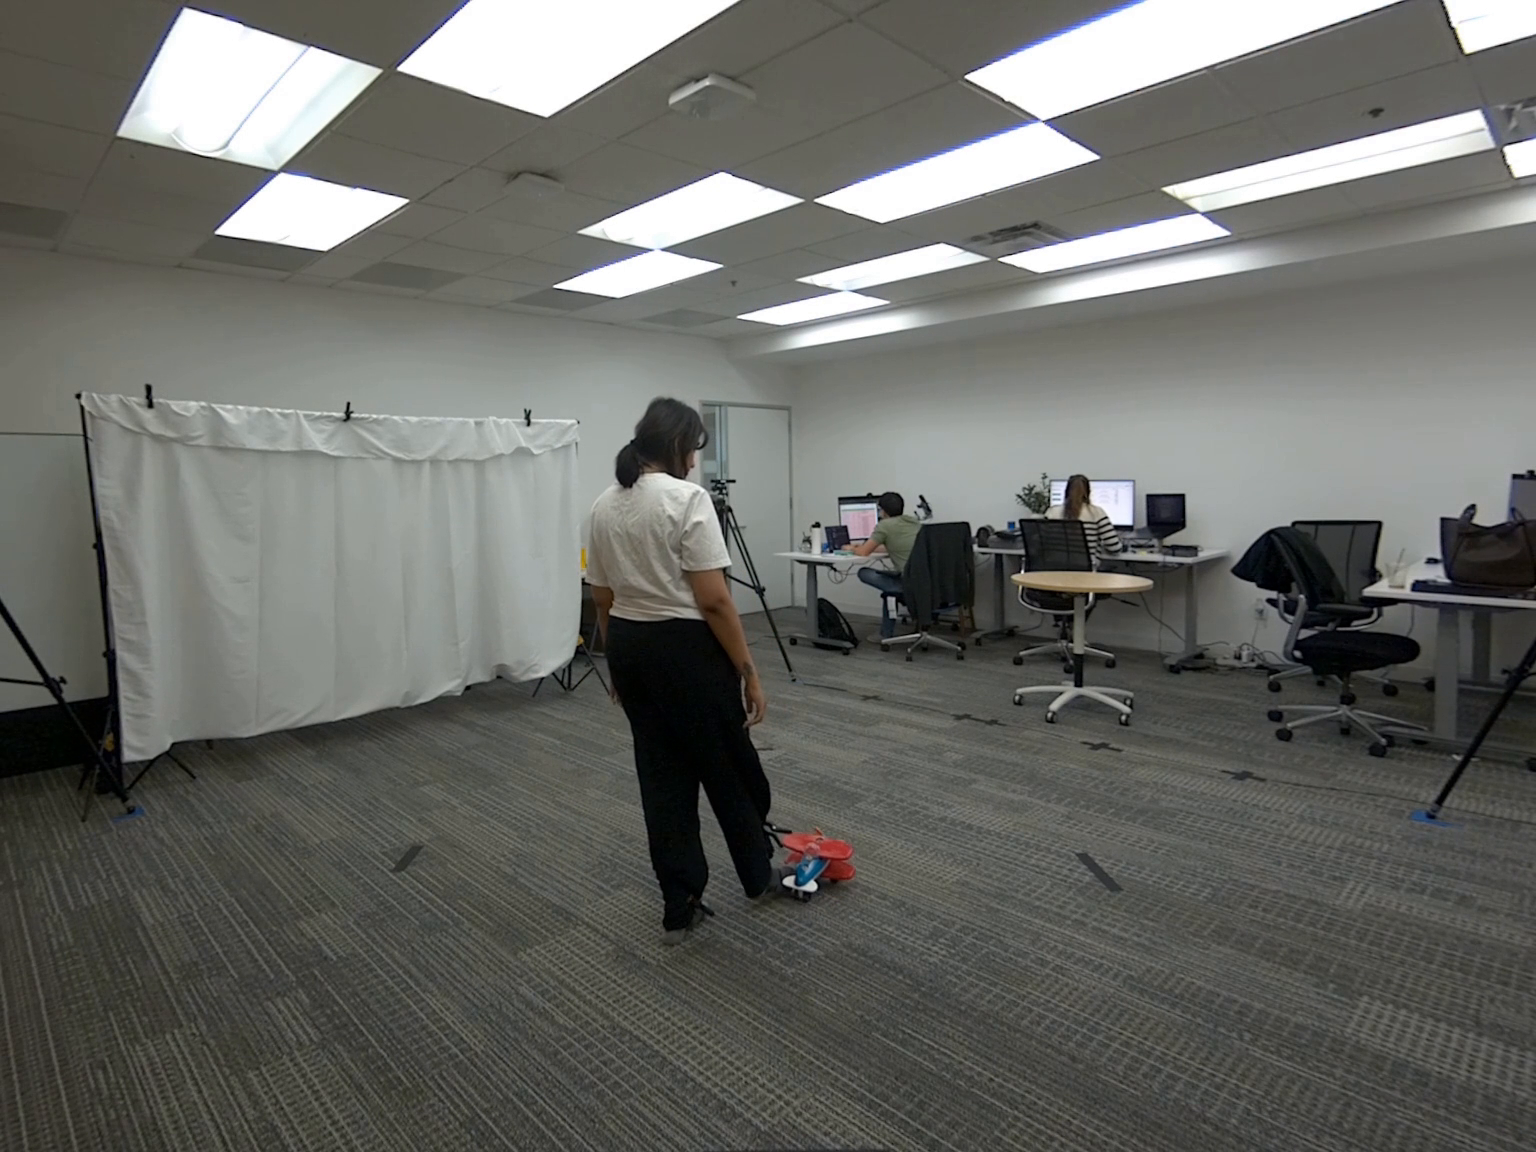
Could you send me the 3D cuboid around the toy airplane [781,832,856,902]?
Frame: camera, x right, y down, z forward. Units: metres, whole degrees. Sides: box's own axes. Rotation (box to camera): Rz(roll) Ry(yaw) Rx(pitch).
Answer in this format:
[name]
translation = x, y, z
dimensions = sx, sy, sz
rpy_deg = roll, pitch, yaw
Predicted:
[toy airplane]
translation = 0.183, 0.989, 2.908
dimensions = 0.251, 0.156, 0.260
rpy_deg = -1, 5, 1
